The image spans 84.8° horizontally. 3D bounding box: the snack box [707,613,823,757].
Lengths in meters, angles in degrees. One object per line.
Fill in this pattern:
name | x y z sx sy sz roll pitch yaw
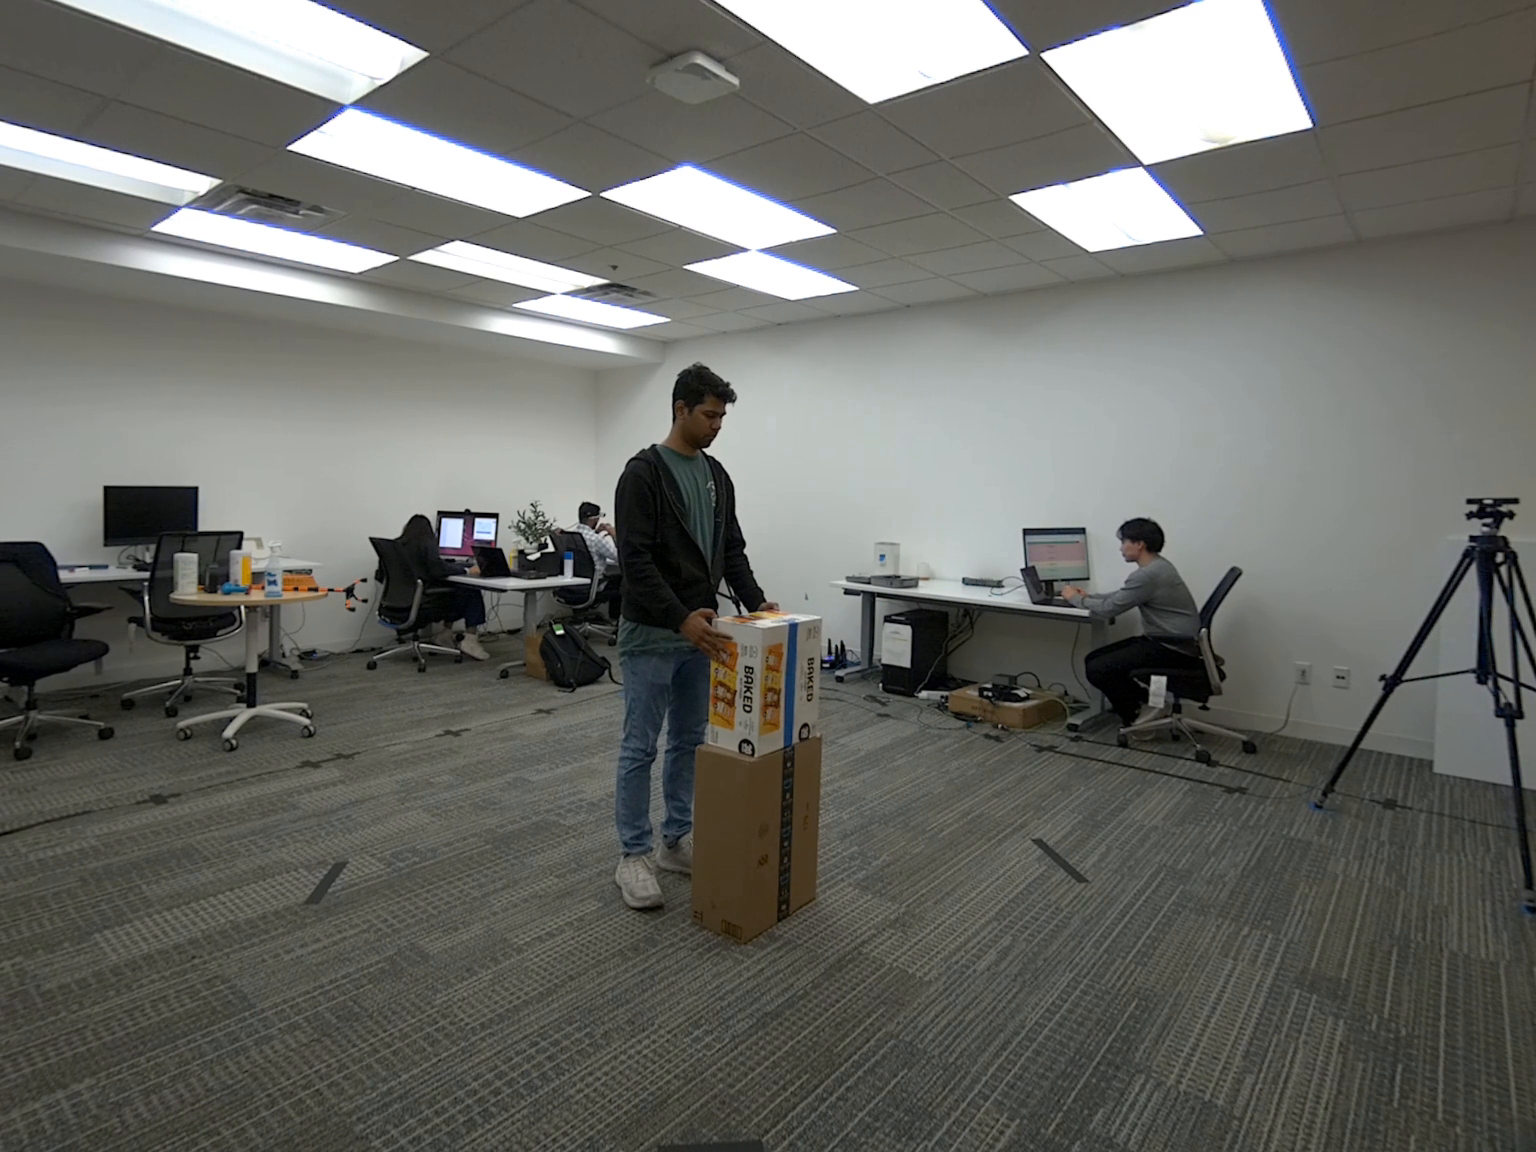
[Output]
snack box | -0.015 0.335 2.779 0.213 0.403 0.330 6 6 38
